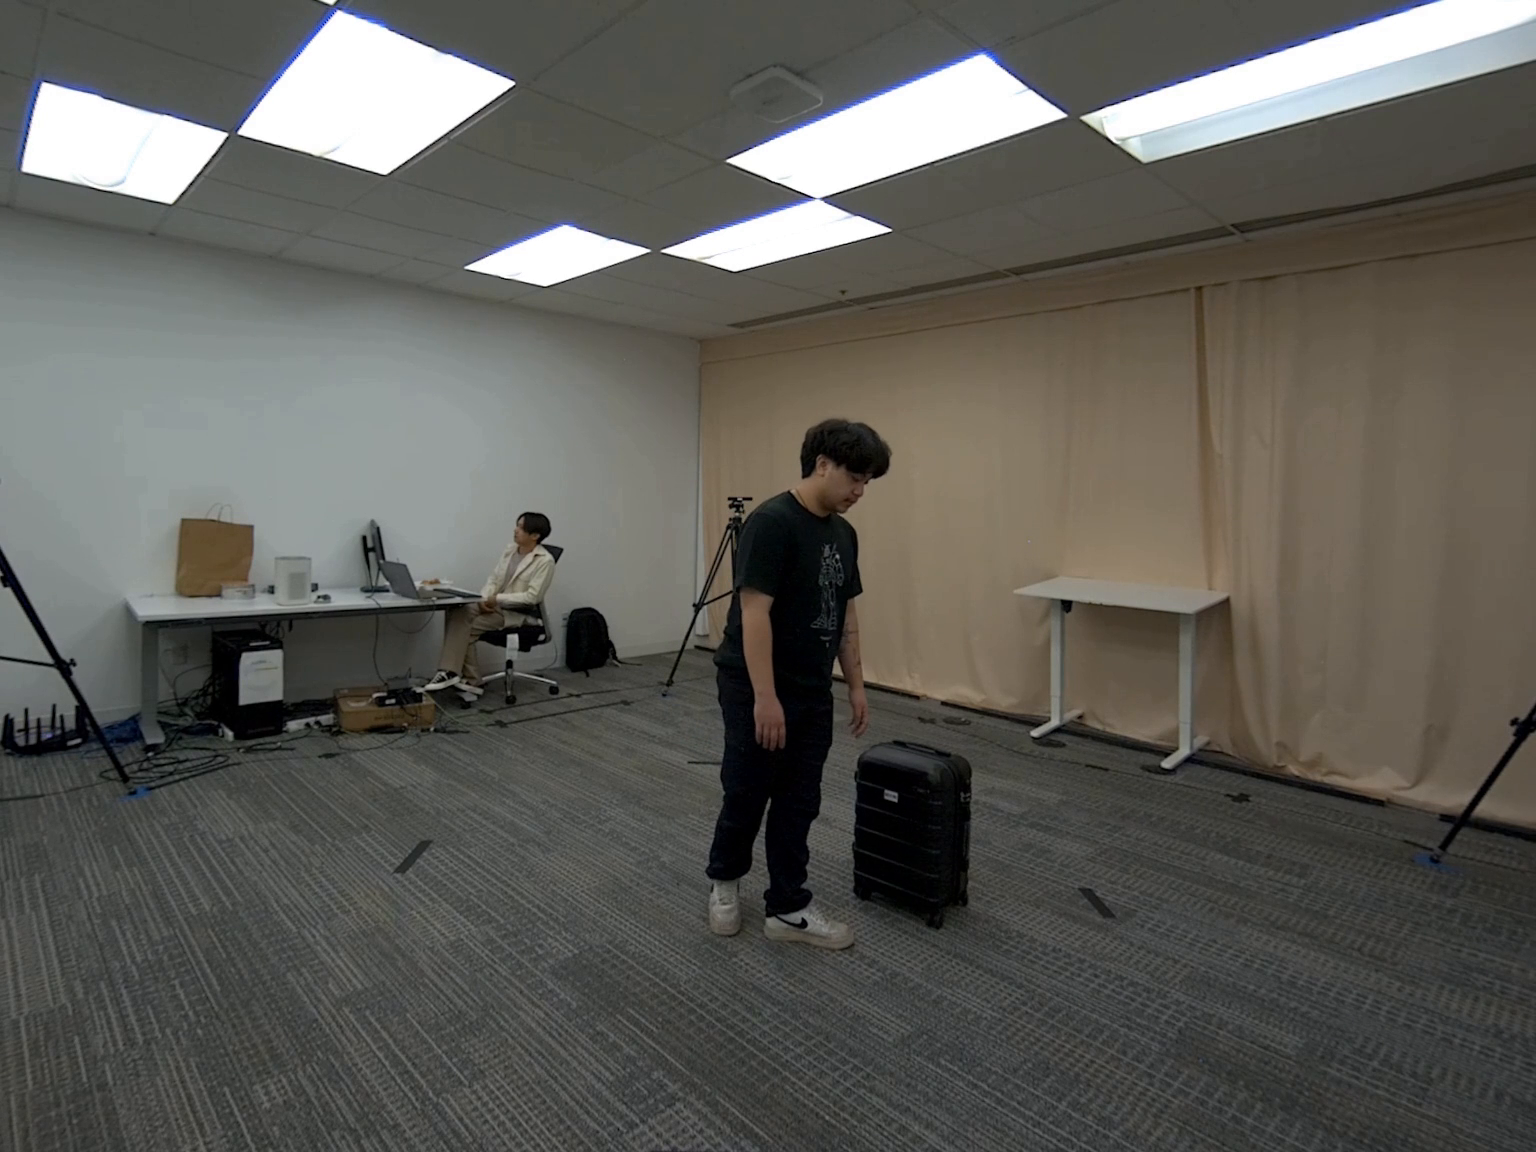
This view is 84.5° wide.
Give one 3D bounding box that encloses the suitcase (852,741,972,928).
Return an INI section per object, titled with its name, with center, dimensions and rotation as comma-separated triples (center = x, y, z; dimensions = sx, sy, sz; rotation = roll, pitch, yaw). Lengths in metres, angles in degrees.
[suitcase]
center = 0.497, 0.866, 2.911
dimensions = 0.385, 0.547, 0.243
rotation = 6, 7, 41
